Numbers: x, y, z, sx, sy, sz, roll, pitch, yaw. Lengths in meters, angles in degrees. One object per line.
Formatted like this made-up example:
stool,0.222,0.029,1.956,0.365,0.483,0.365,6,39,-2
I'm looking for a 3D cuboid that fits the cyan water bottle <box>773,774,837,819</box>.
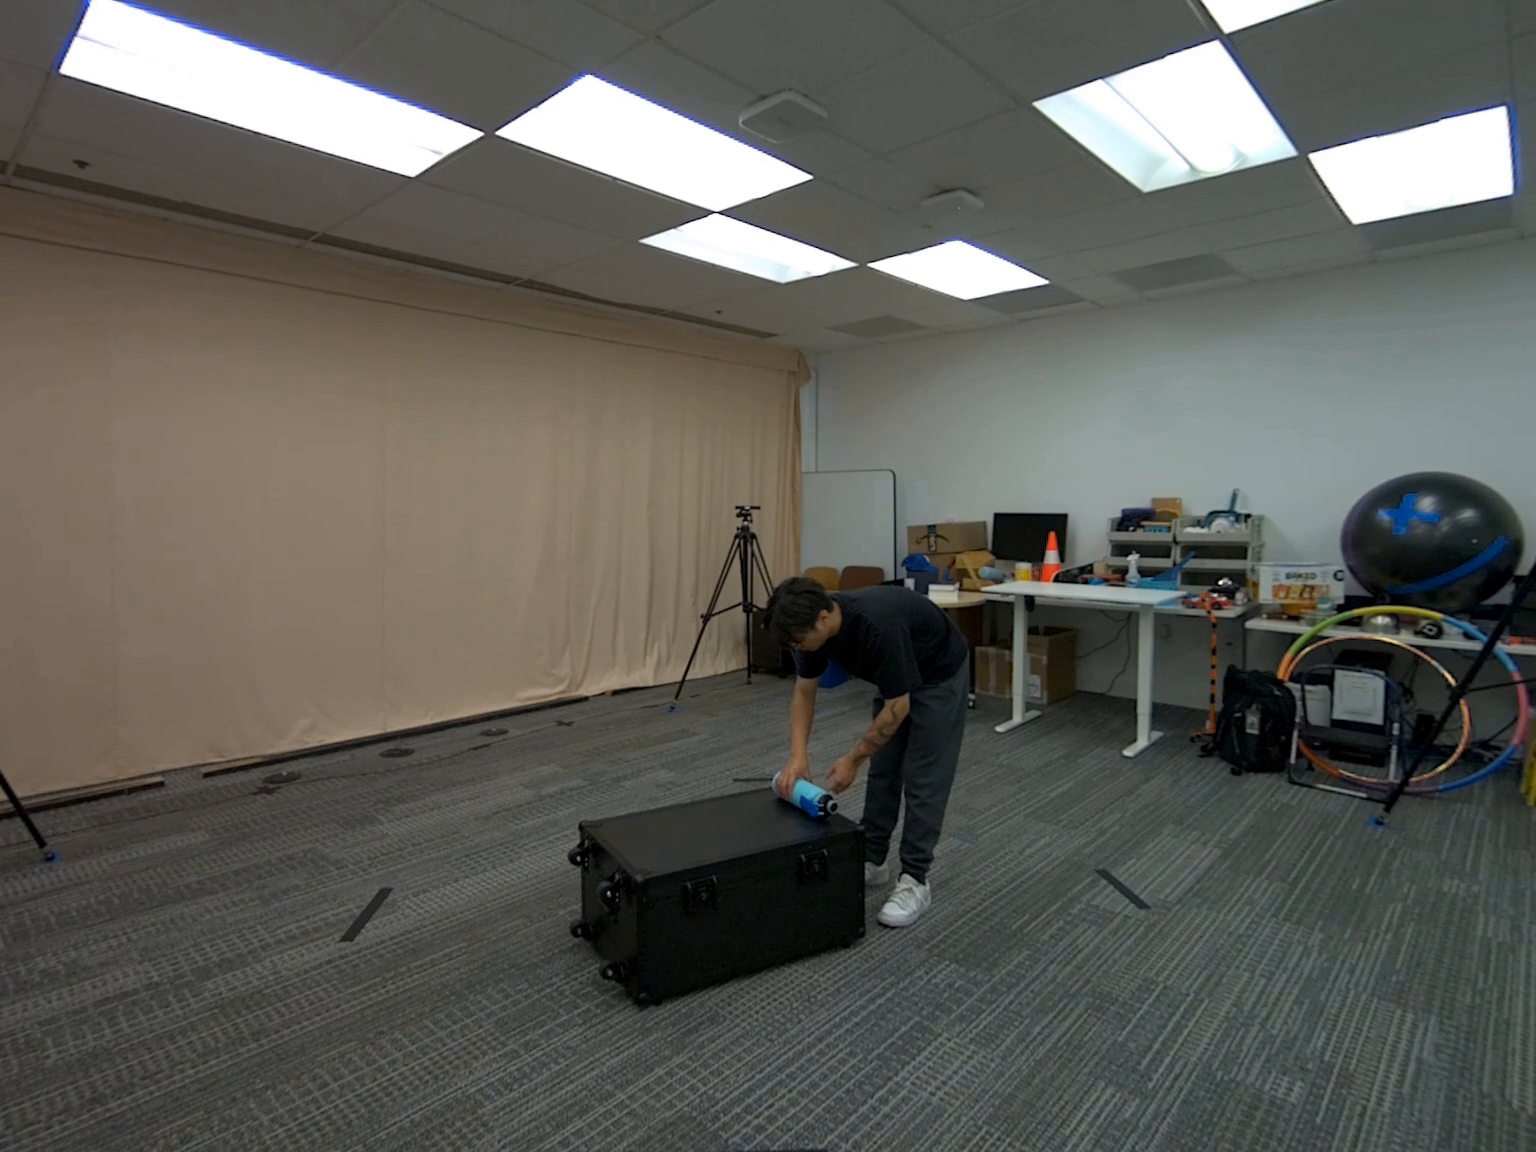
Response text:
cyan water bottle,0.132,0.735,2.821,0.090,0.092,0.292,-2,6,-30
